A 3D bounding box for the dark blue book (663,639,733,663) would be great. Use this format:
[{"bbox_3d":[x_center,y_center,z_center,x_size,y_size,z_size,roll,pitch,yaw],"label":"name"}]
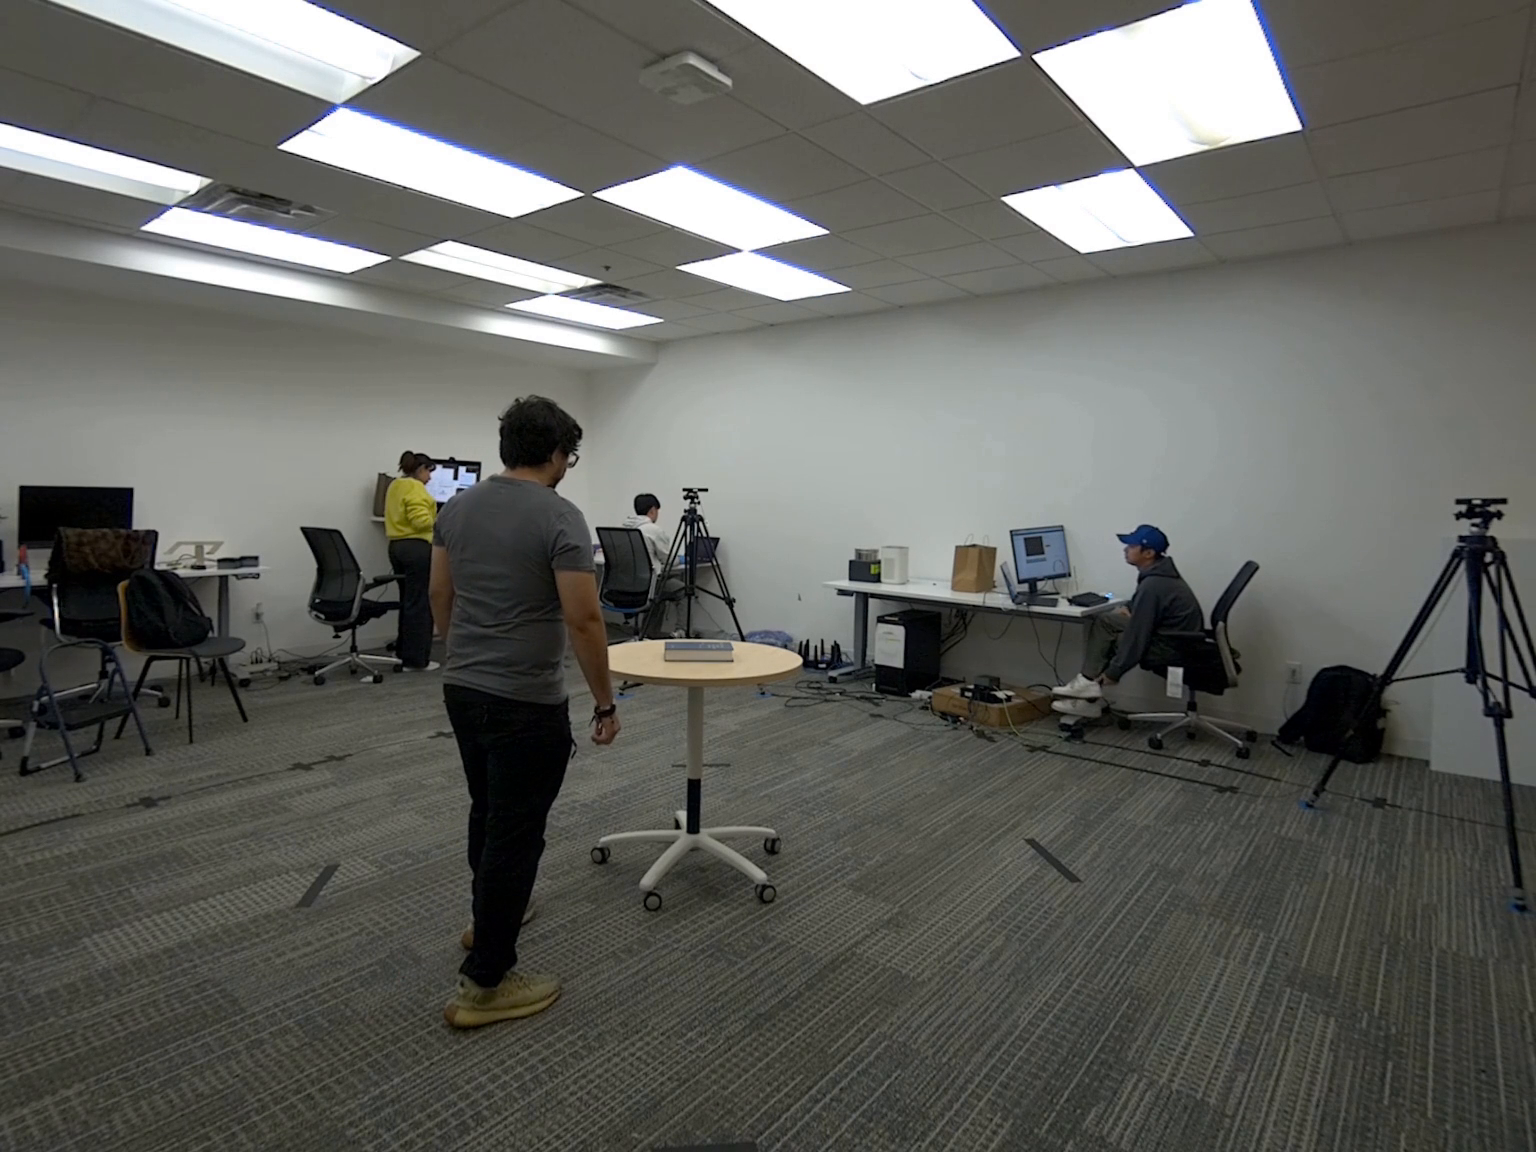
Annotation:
[{"bbox_3d":[-0.259,0.270,3.063,0.244,0.045,0.165,0,6,-4],"label":"dark blue book"}]
